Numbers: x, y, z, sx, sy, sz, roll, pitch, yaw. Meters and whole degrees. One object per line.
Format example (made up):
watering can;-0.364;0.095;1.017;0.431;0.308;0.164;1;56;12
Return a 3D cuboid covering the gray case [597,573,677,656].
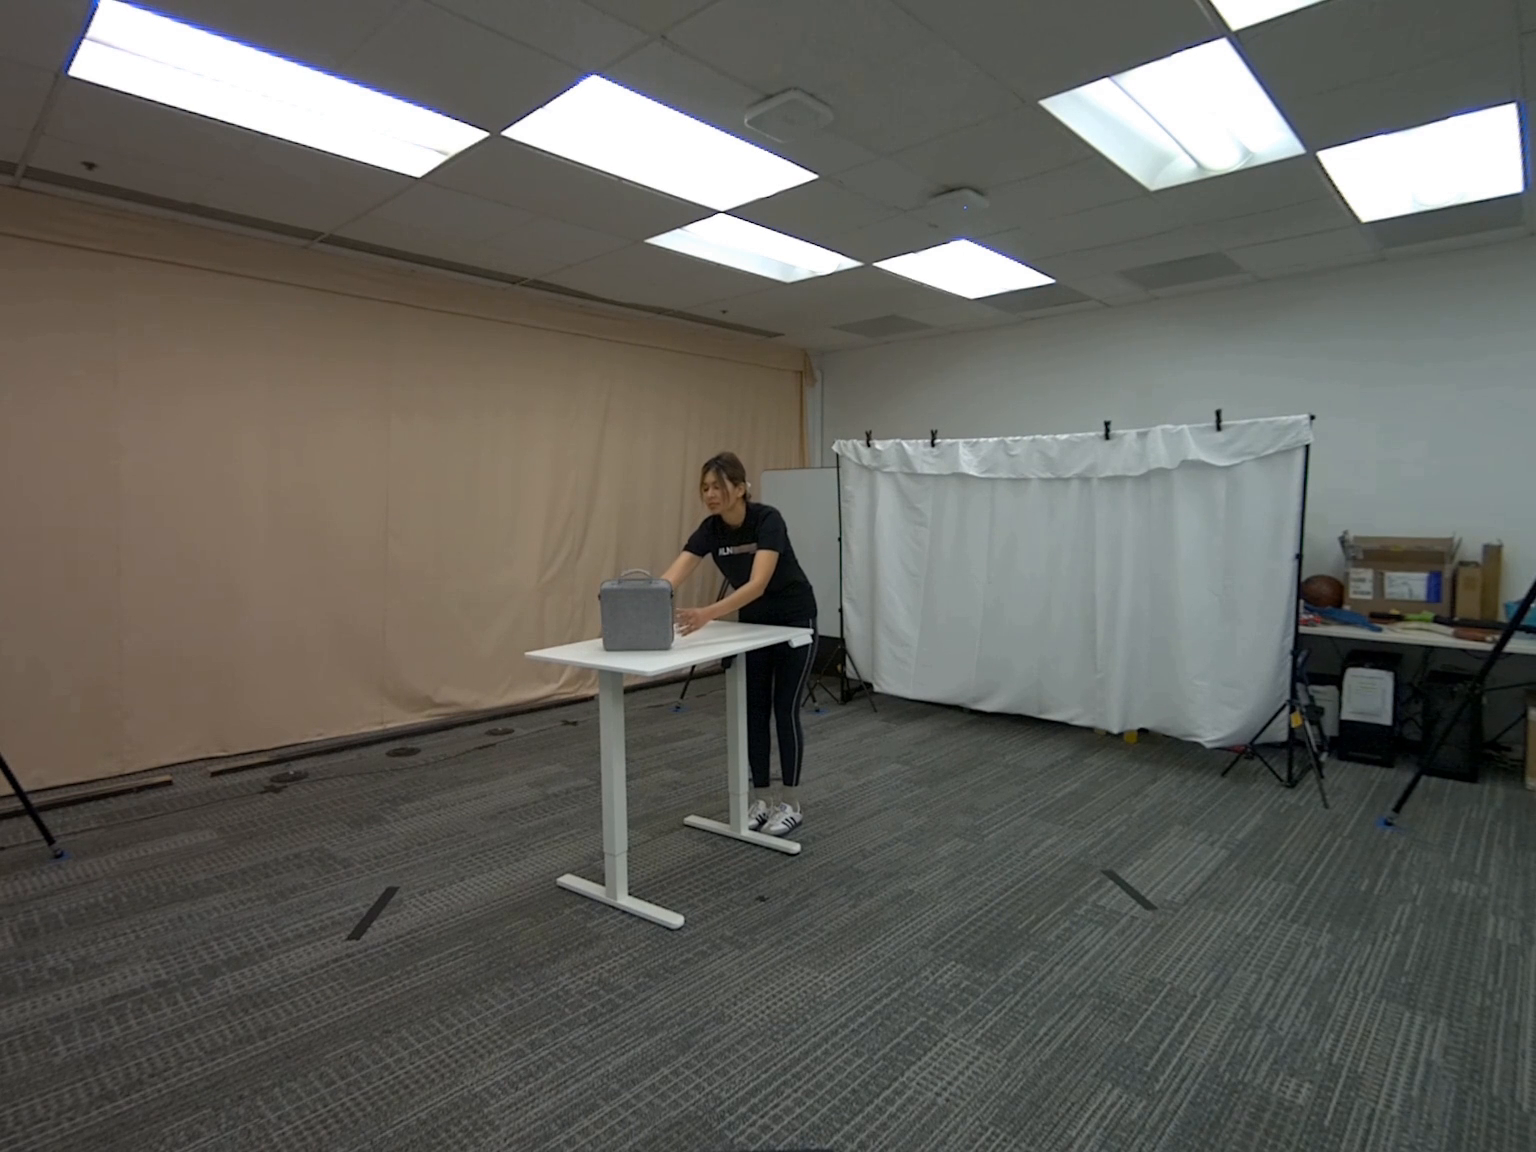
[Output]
gray case;-0.459;0.133;2.985;0.257;0.258;0.105;-2;14;-1
